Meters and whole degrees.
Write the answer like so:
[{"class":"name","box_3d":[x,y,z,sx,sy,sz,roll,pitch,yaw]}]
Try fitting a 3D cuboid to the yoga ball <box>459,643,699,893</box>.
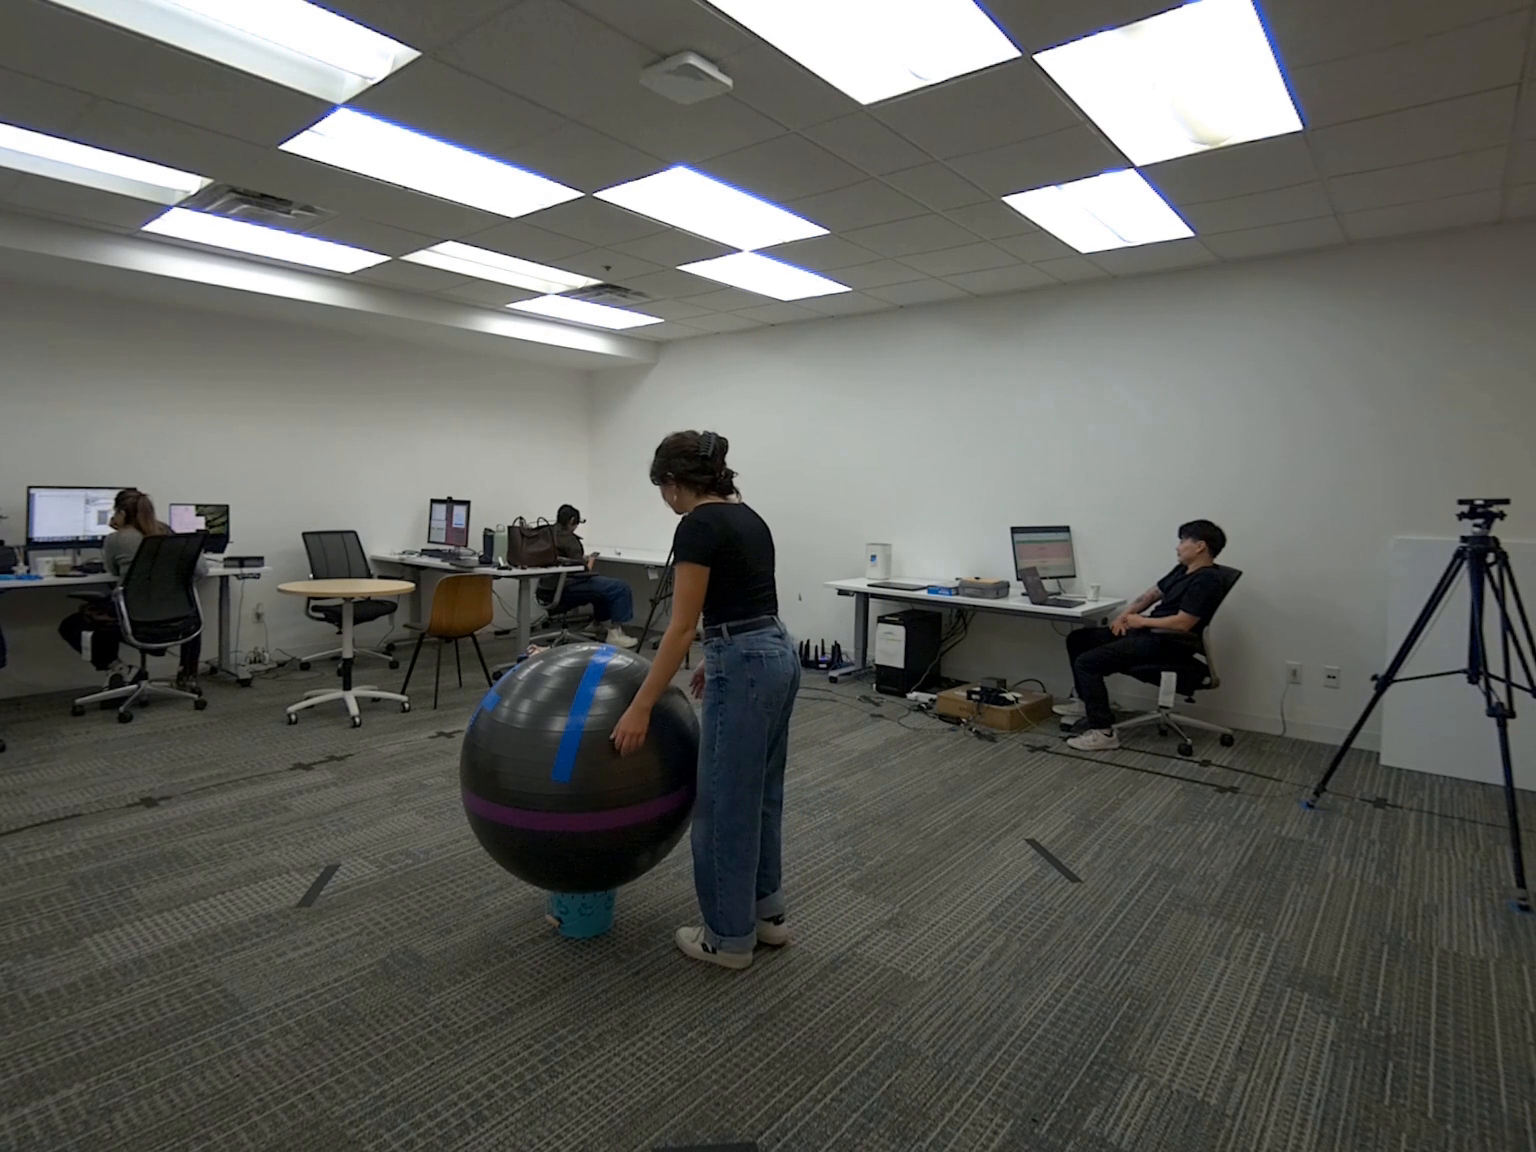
[{"class":"yoga ball","box_3d":[-0.589,0.597,2.676,0.757,0.755,0.762,1,4,-2]}]
